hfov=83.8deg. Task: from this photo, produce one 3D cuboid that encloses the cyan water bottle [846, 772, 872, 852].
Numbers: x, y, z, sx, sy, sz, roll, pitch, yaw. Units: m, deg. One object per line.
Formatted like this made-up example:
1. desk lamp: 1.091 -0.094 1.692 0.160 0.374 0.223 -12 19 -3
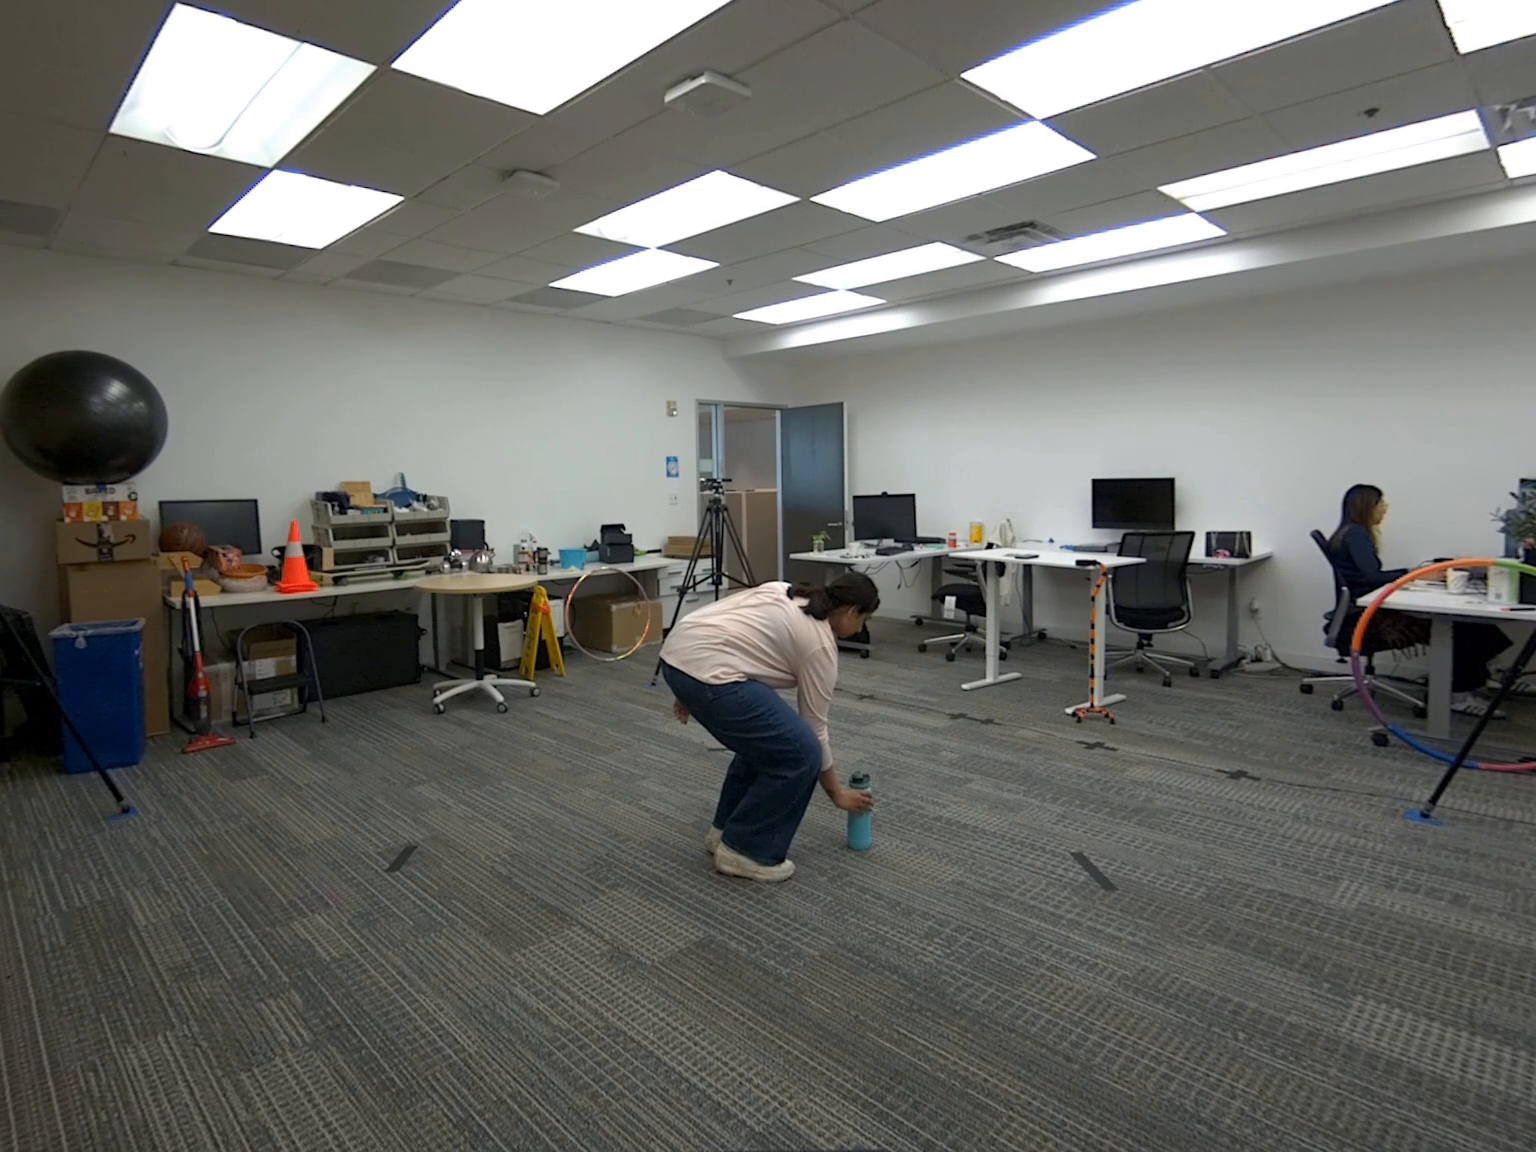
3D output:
1. cyan water bottle: 0.345 0.875 3.237 0.092 0.283 0.092 0 1 -2
